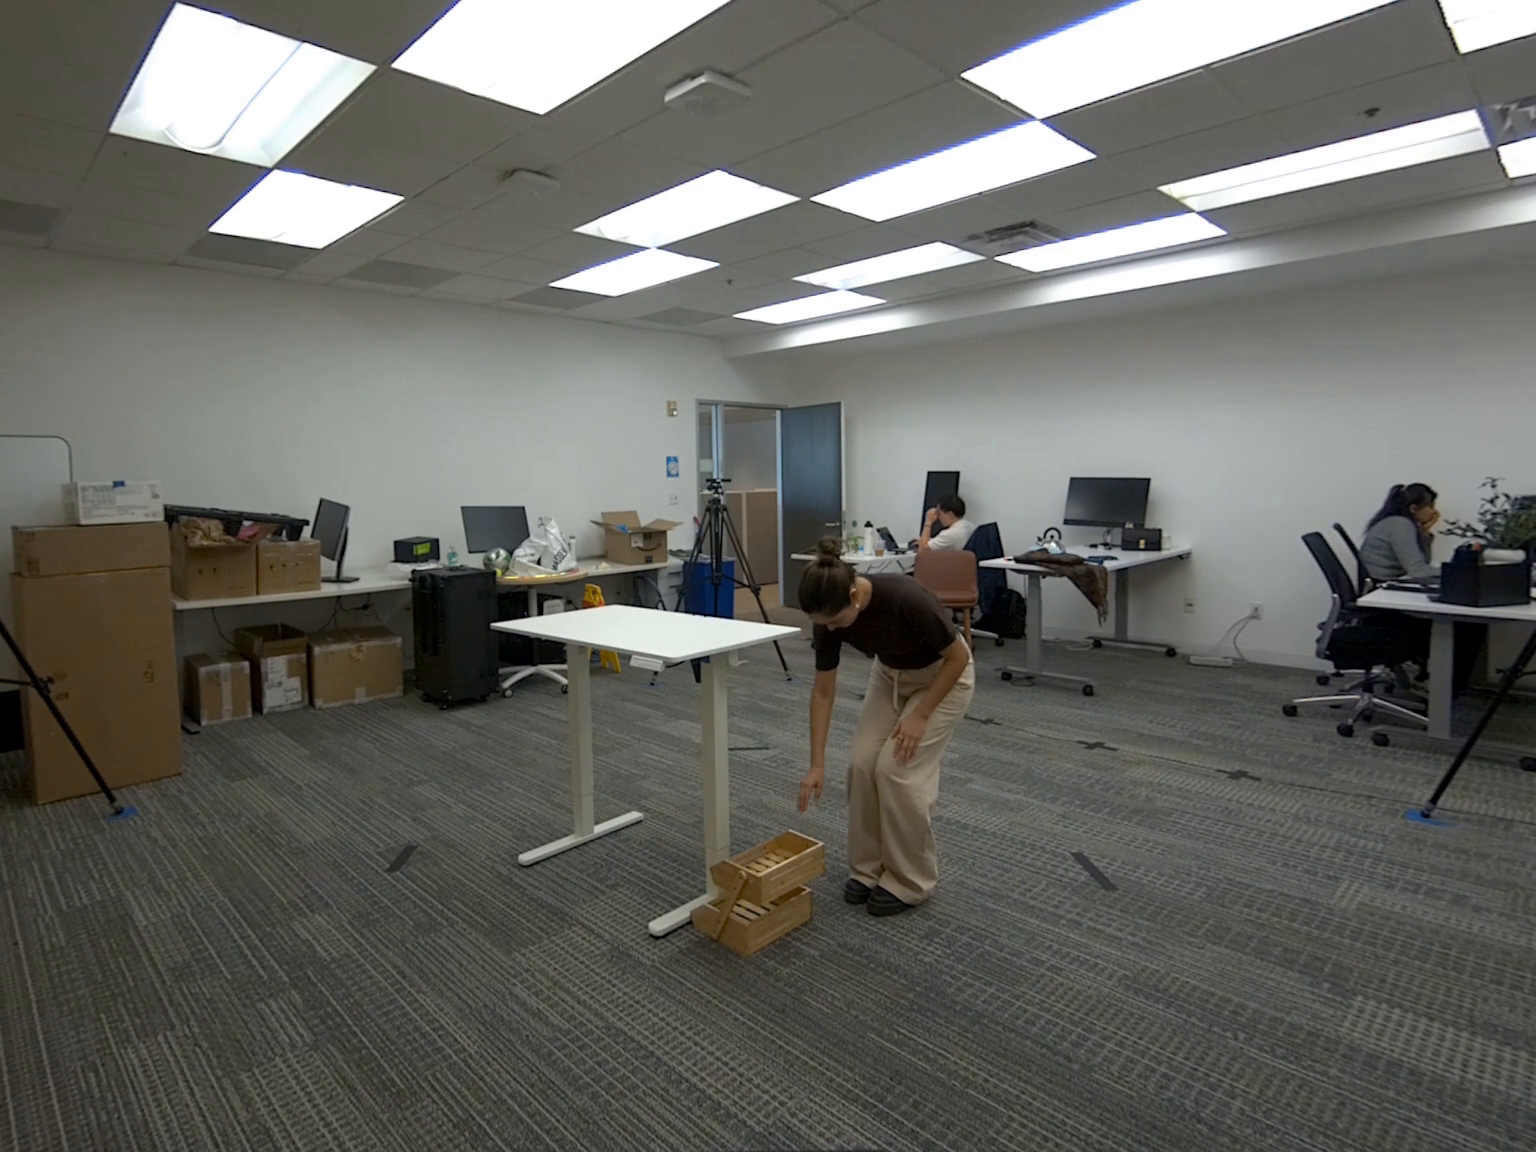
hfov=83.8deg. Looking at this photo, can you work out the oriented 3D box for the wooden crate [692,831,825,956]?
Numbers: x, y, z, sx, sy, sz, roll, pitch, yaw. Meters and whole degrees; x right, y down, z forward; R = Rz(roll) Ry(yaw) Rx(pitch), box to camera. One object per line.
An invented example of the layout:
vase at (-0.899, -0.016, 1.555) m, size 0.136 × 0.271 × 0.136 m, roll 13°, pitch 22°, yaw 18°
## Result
wooden crate at (-0.031, 0.963, 2.667) m, size 0.311 × 0.272 × 0.316 m, roll 5°, pitch 8°, yaw 43°
